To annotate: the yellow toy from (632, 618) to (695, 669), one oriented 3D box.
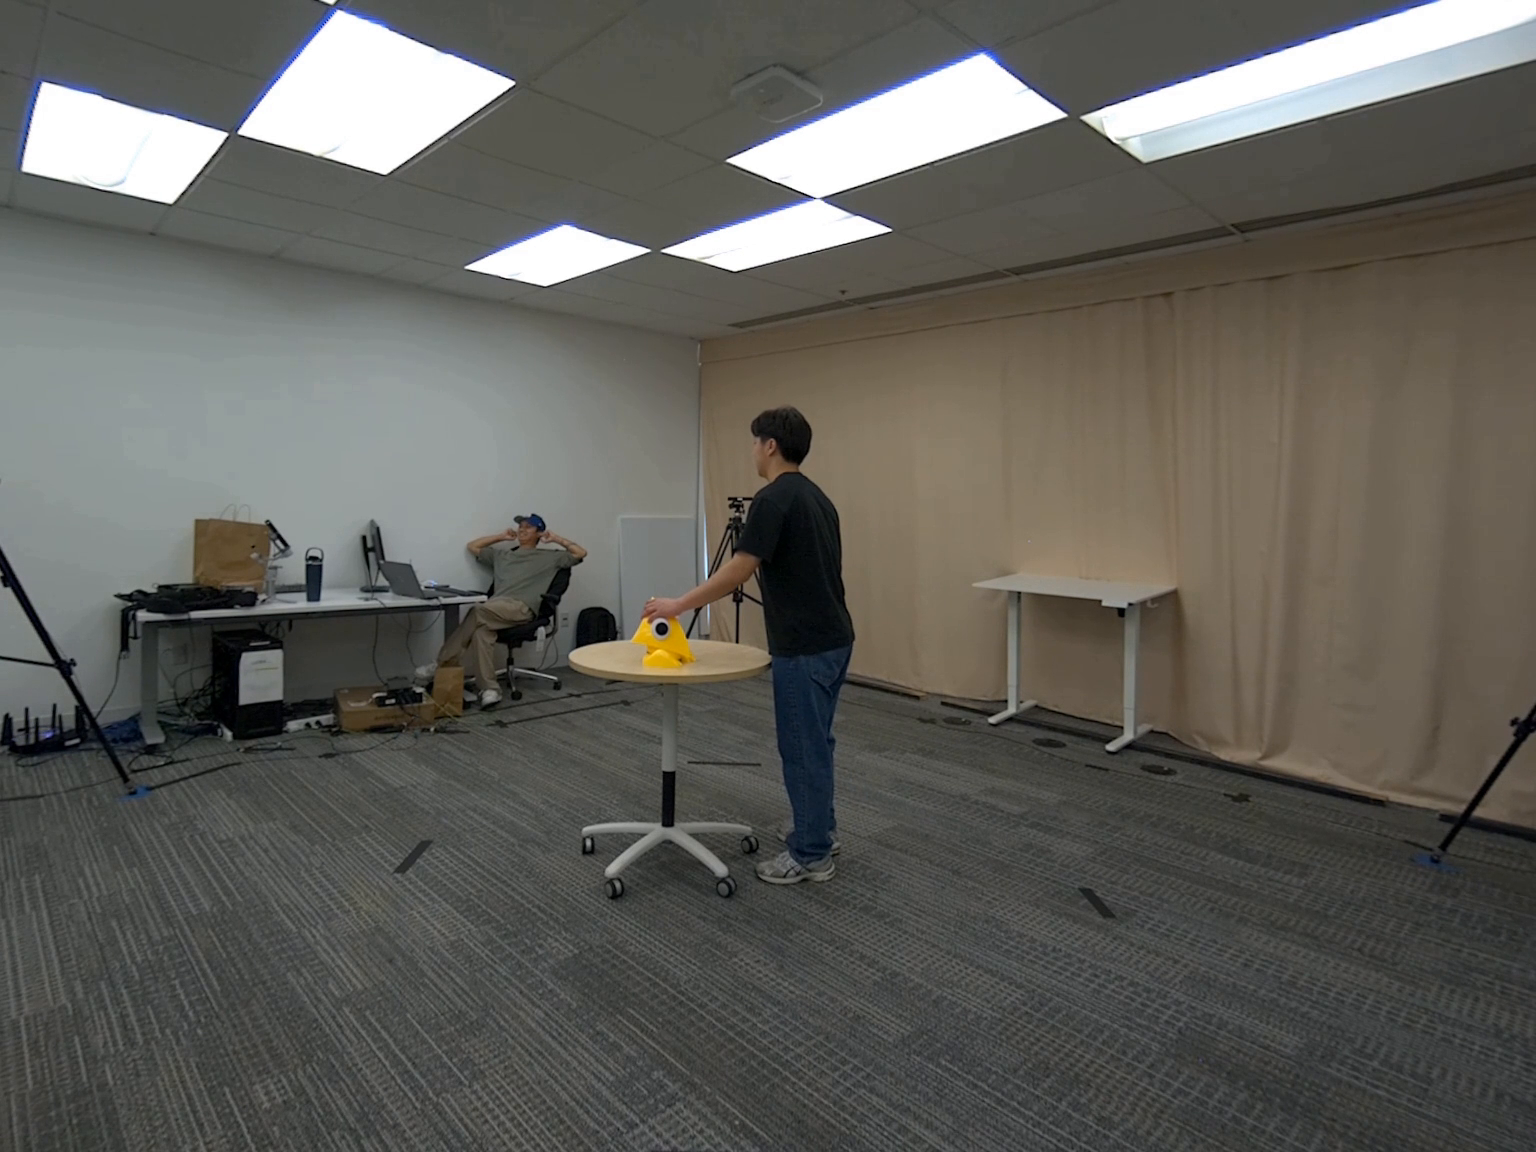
[{"bbox_3d":[-0.372,0.198,3.038,0.196,0.230,0.202,3,4,21],"label":"yellow toy"}]
